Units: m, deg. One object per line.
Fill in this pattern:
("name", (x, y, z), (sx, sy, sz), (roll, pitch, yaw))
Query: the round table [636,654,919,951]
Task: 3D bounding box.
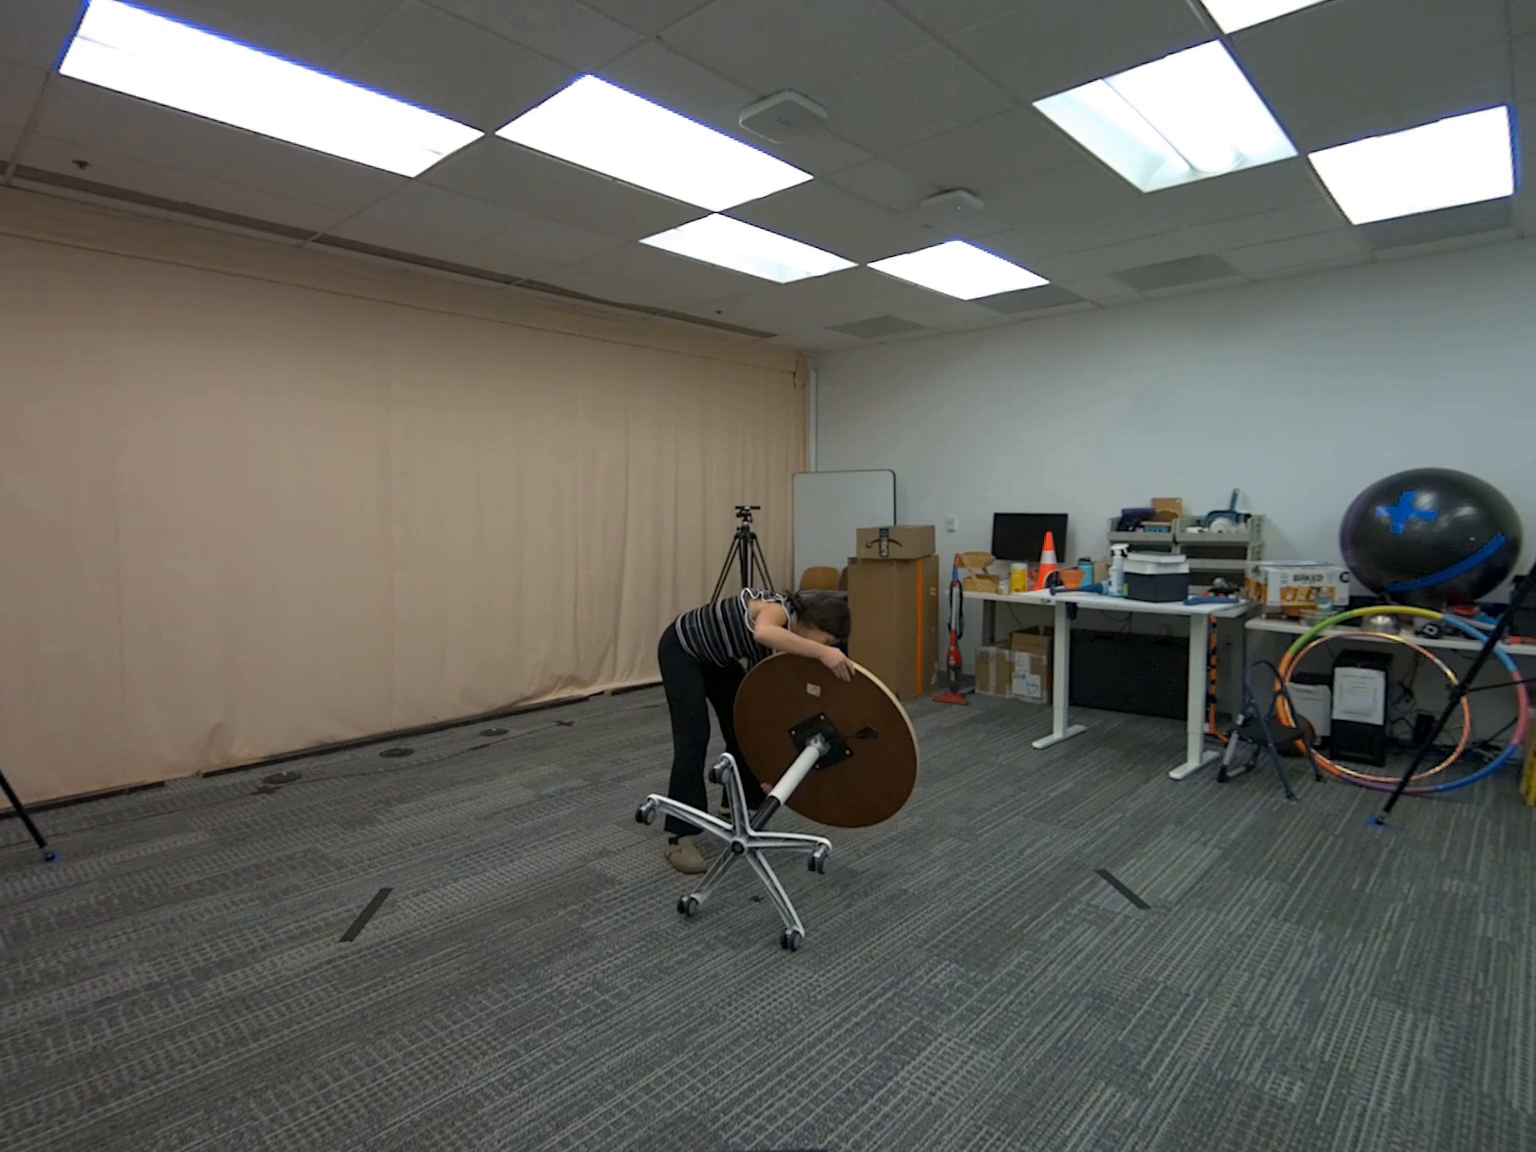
("round table", (0.044, 0.775, 2.963), (0.786, 0.754, 0.782), (2, 21, 30))
